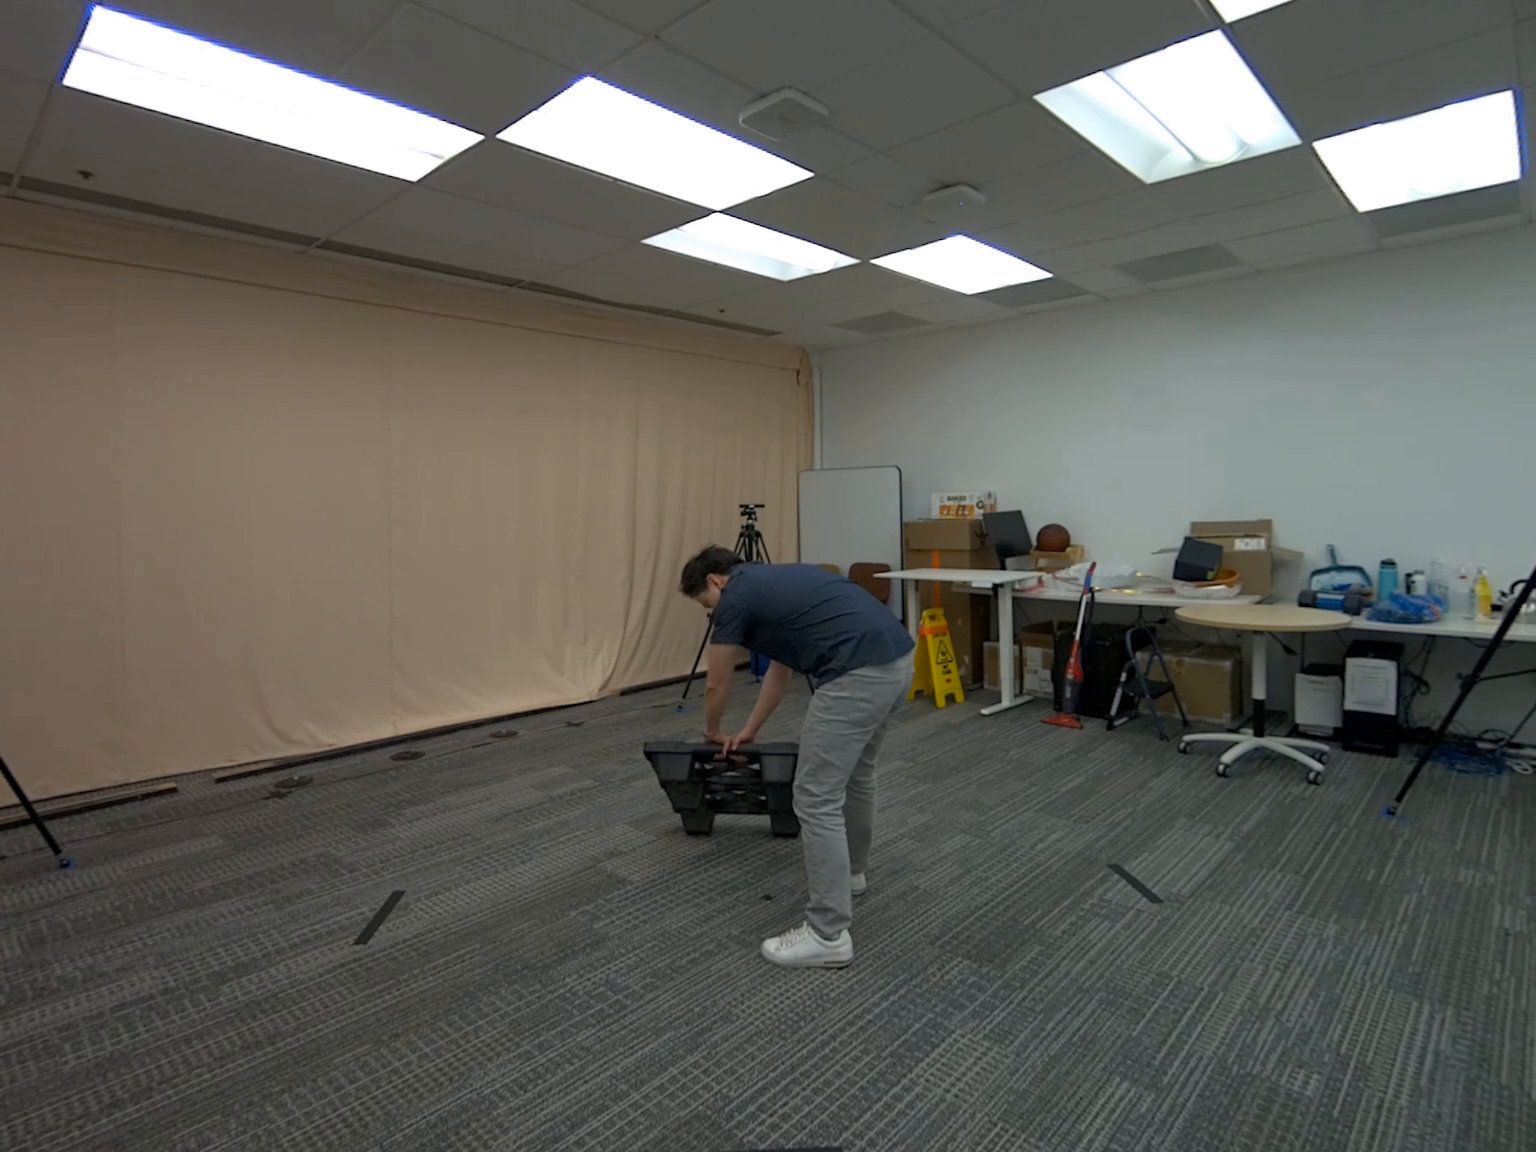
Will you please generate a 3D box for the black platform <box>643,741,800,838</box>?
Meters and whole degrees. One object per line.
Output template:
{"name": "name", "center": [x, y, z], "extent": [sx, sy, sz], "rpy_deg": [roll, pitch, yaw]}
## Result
{"name": "black platform", "center": [-0.136, 0.847, 3.275], "extent": [0.609, 0.145, 0.788], "rpy_deg": [-1, -32, 5]}
